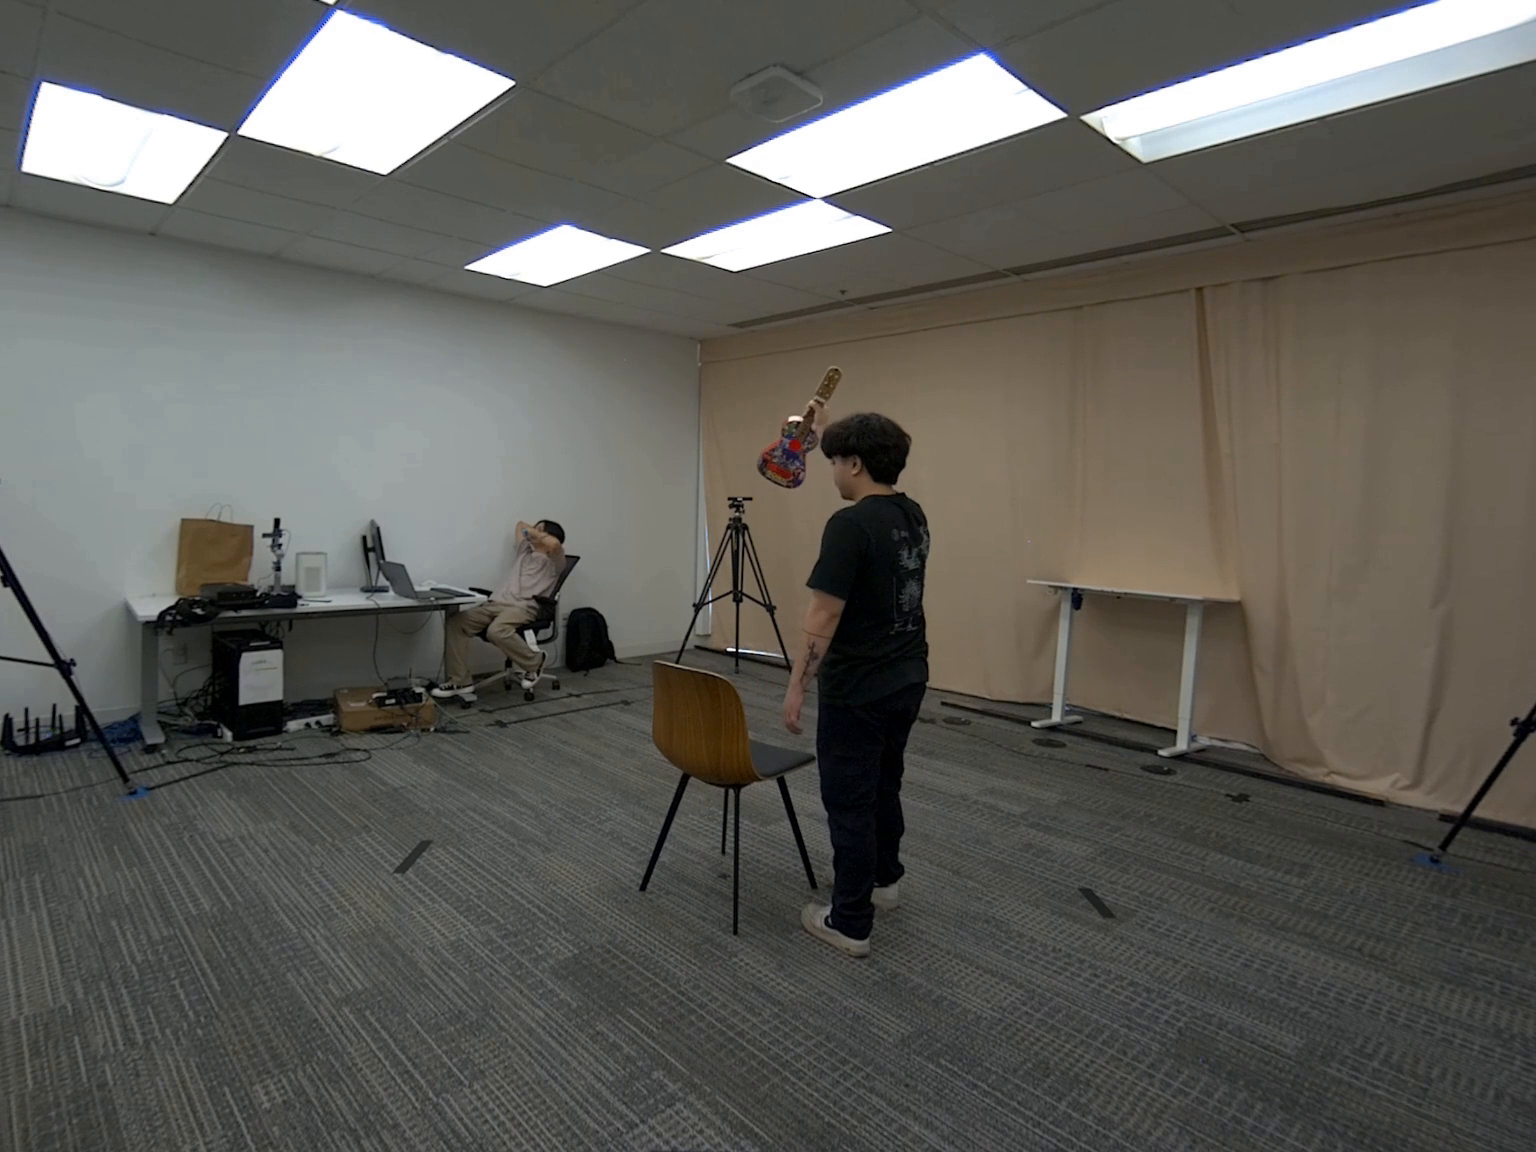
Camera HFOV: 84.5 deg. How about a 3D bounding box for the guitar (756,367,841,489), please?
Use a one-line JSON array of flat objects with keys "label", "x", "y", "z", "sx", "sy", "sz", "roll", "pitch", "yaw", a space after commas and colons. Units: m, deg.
[{"label": "guitar", "x": 0.157, "y": -0.542, "z": 3.157, "sx": 0.192, "sy": 0.497, "sz": 0.071, "roll": 37, "pitch": 24, "yaw": -7}]
